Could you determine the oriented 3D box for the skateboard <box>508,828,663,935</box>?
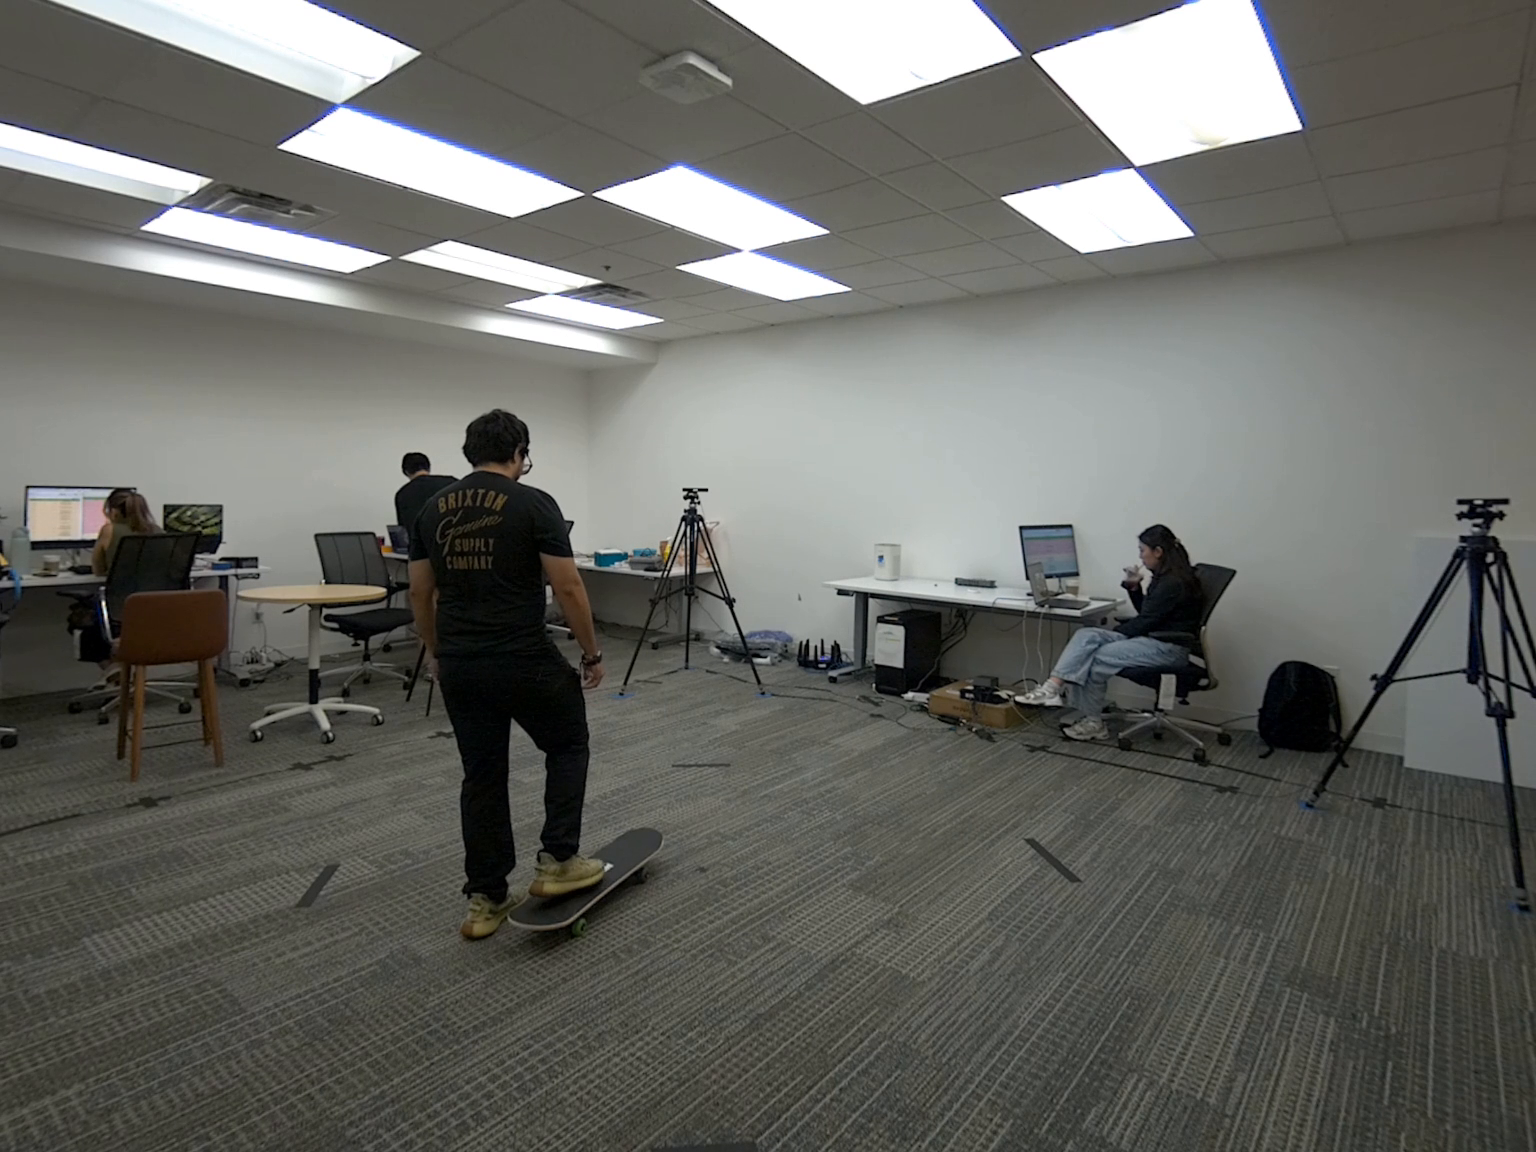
[{"bbox_3d":[-0.598,1.032,2.852,0.198,0.110,0.770,3,6,22],"label":"skateboard"}]
